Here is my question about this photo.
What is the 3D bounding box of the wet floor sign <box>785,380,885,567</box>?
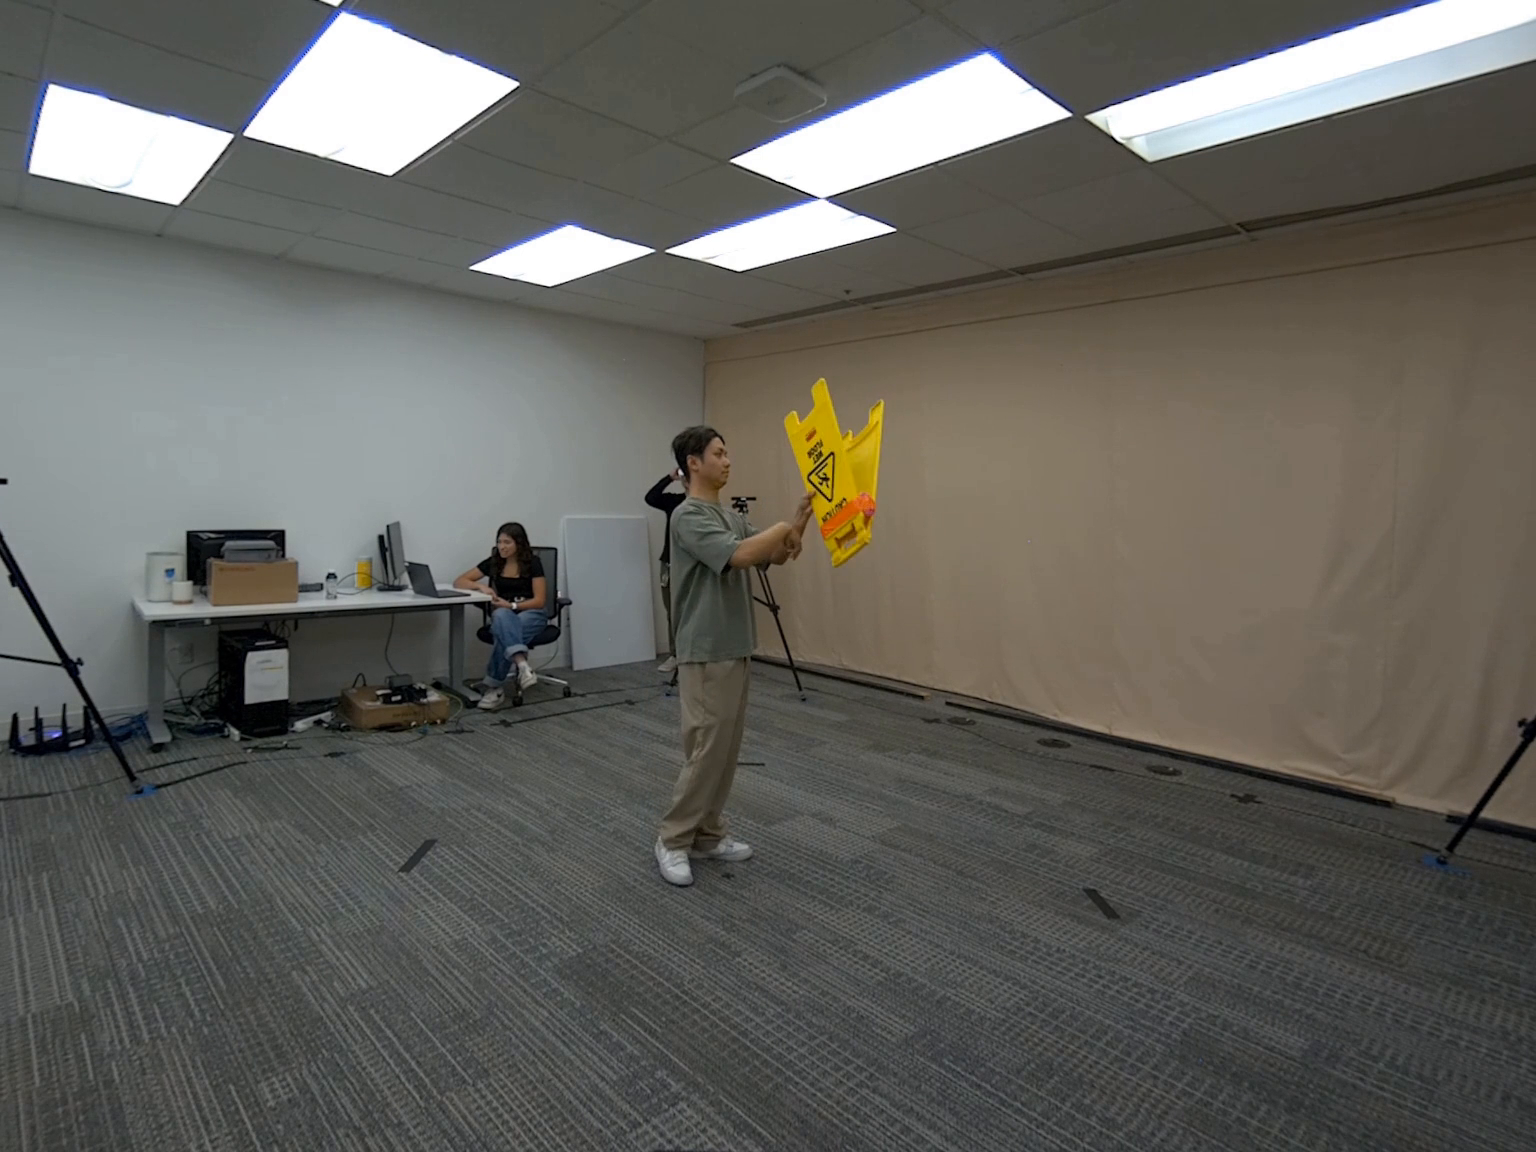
[{"bbox_3d":[0.260,-0.347,3.053,0.284,0.659,0.282,13,-34,-25],"label":"wet floor sign"}]
